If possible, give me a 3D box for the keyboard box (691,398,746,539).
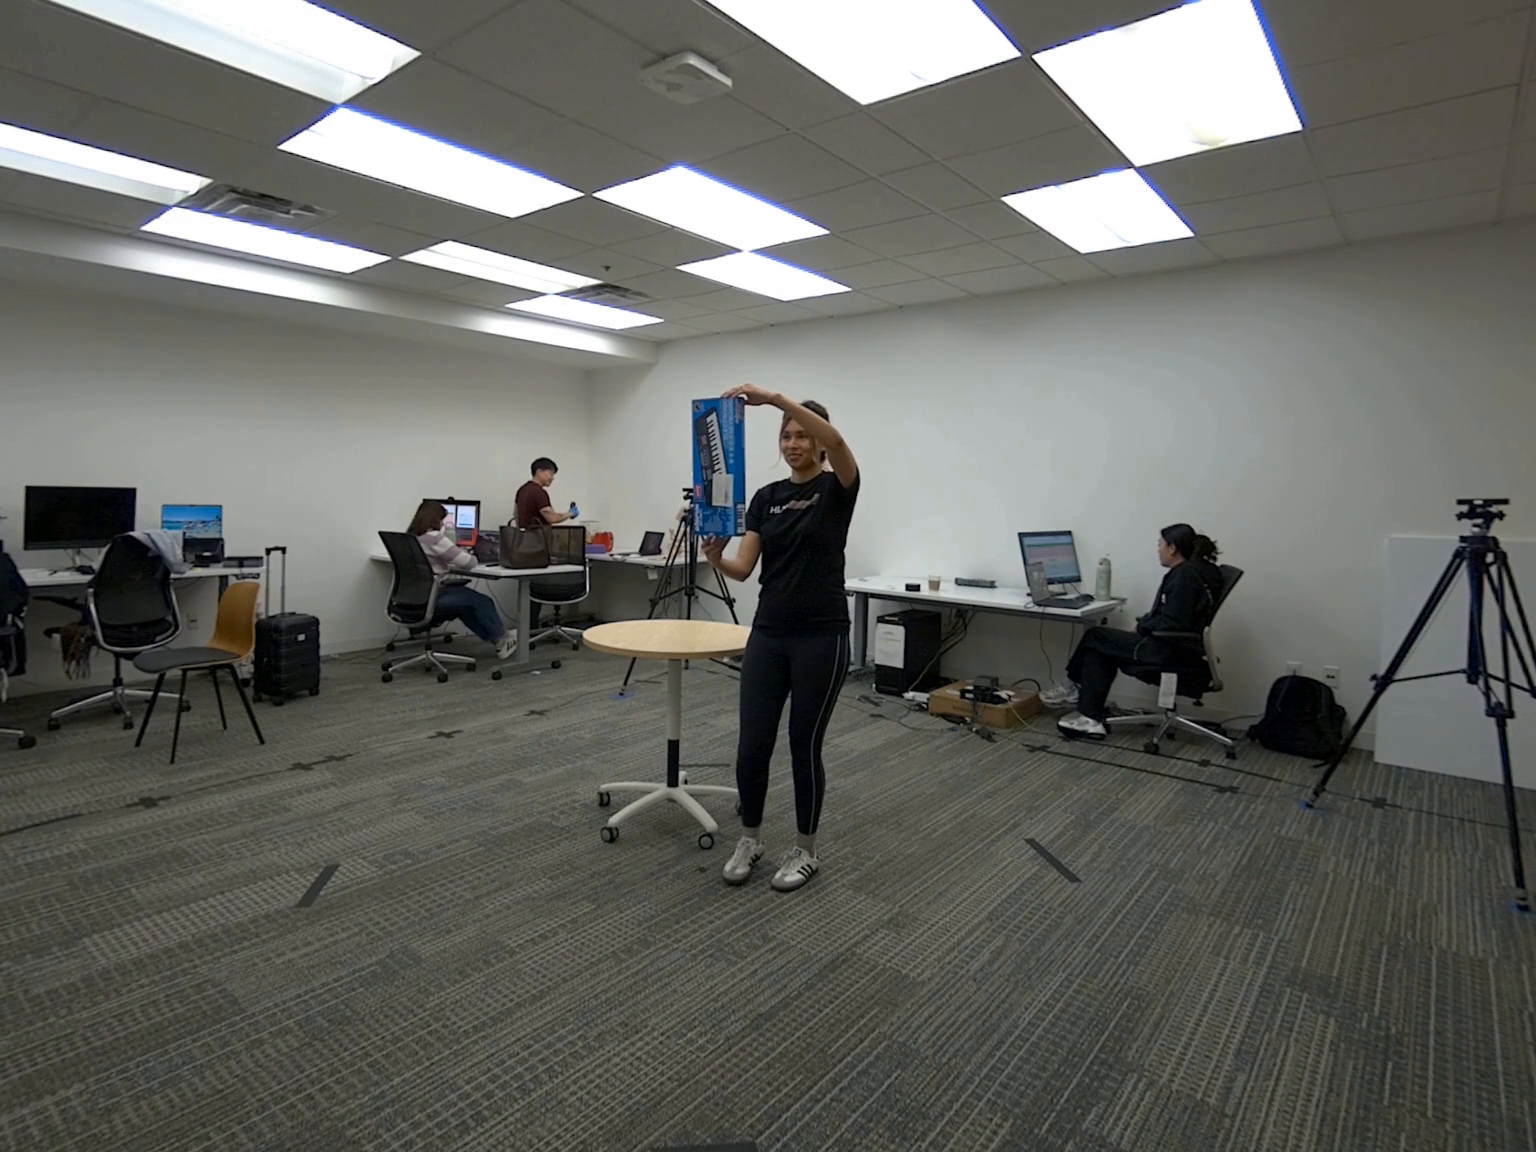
[{"bbox_3d":[-0.166,-0.348,2.715,0.182,0.435,0.057,3,5,37],"label":"keyboard box"}]
